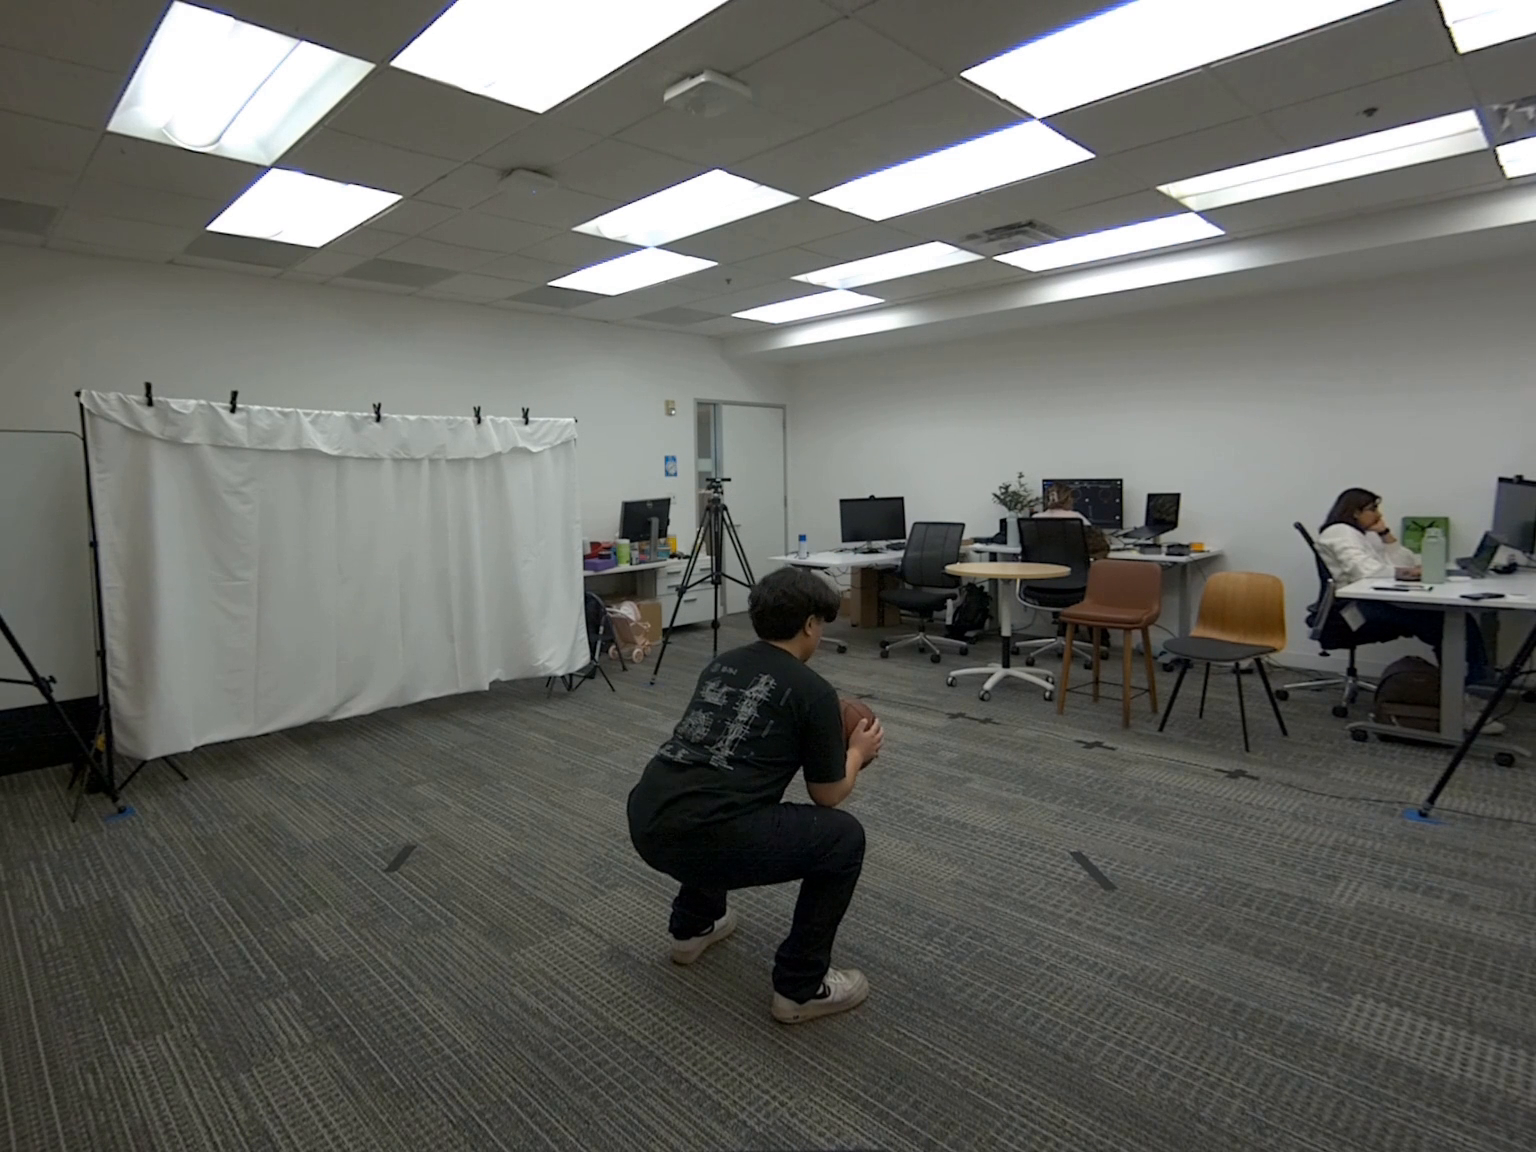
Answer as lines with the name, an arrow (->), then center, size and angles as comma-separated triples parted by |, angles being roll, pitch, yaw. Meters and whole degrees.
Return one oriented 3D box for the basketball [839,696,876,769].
basketball -> 0.240, 0.492, 2.667 | 0.236, 0.235, 0.237 | -1, 5, -2
